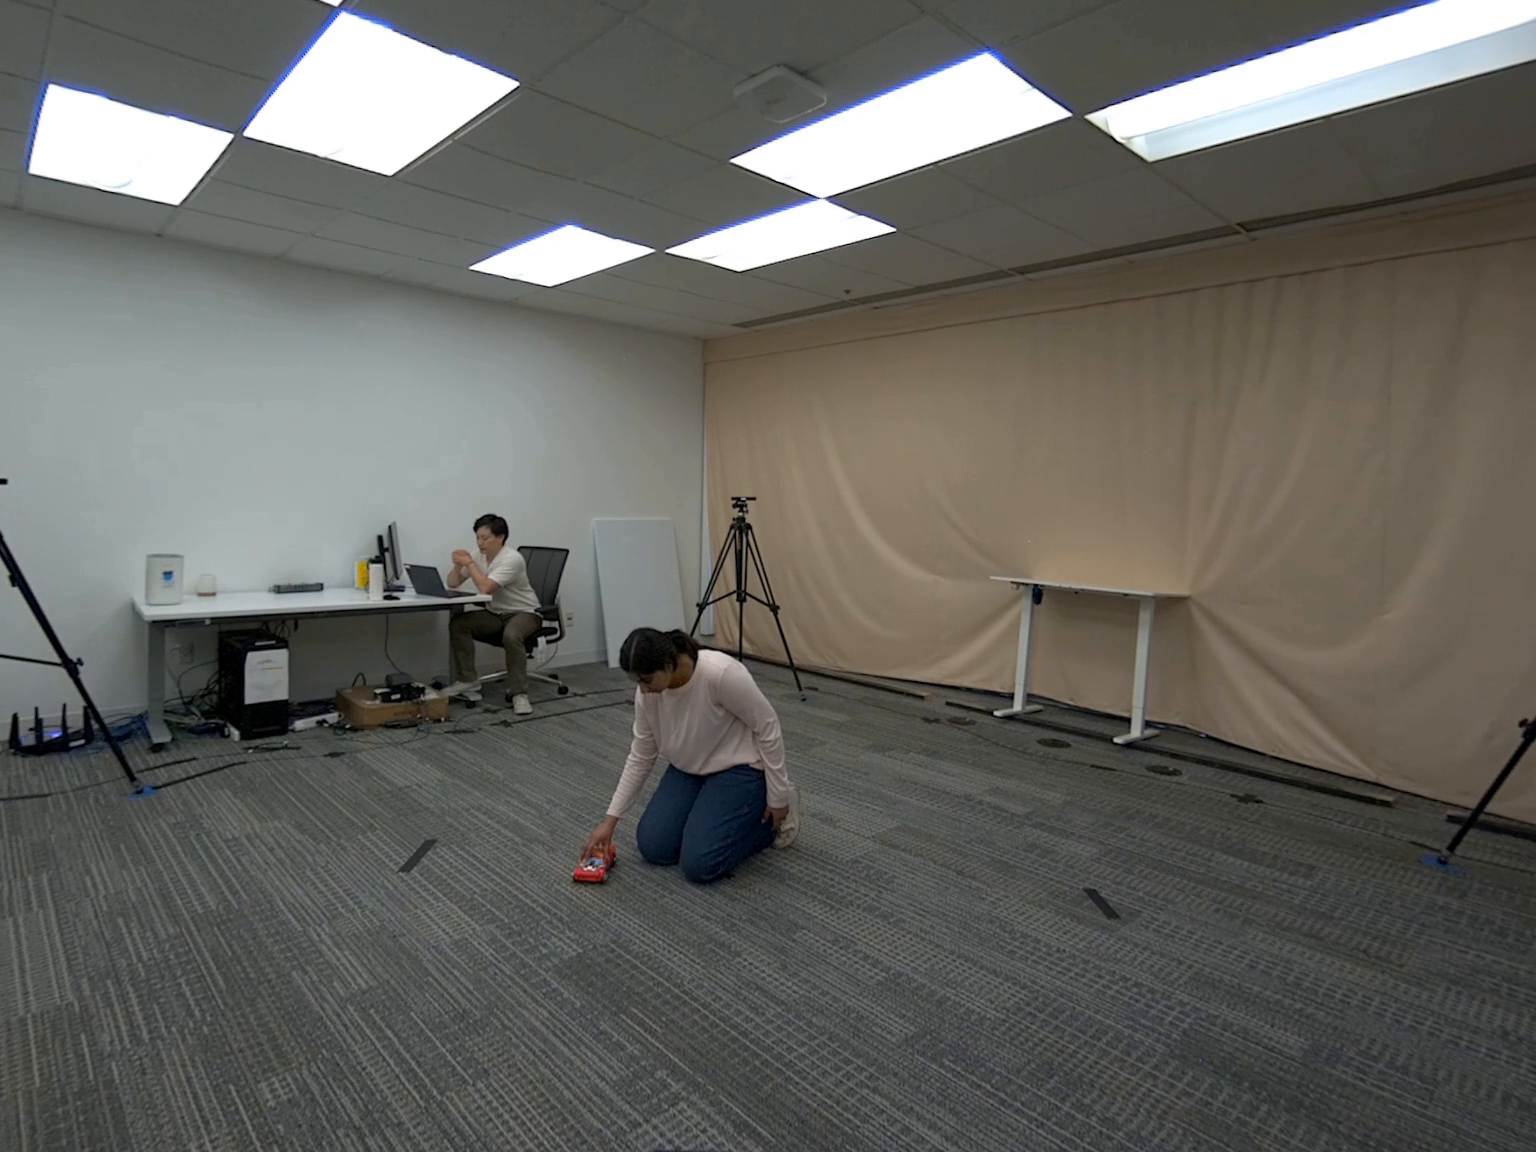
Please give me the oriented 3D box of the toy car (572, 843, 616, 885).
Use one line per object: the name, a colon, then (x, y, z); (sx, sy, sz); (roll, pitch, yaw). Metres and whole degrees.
toy car: (-0.641, 1.060, 3.117); (0.131, 0.082, 0.256); (1, 14, 3)
